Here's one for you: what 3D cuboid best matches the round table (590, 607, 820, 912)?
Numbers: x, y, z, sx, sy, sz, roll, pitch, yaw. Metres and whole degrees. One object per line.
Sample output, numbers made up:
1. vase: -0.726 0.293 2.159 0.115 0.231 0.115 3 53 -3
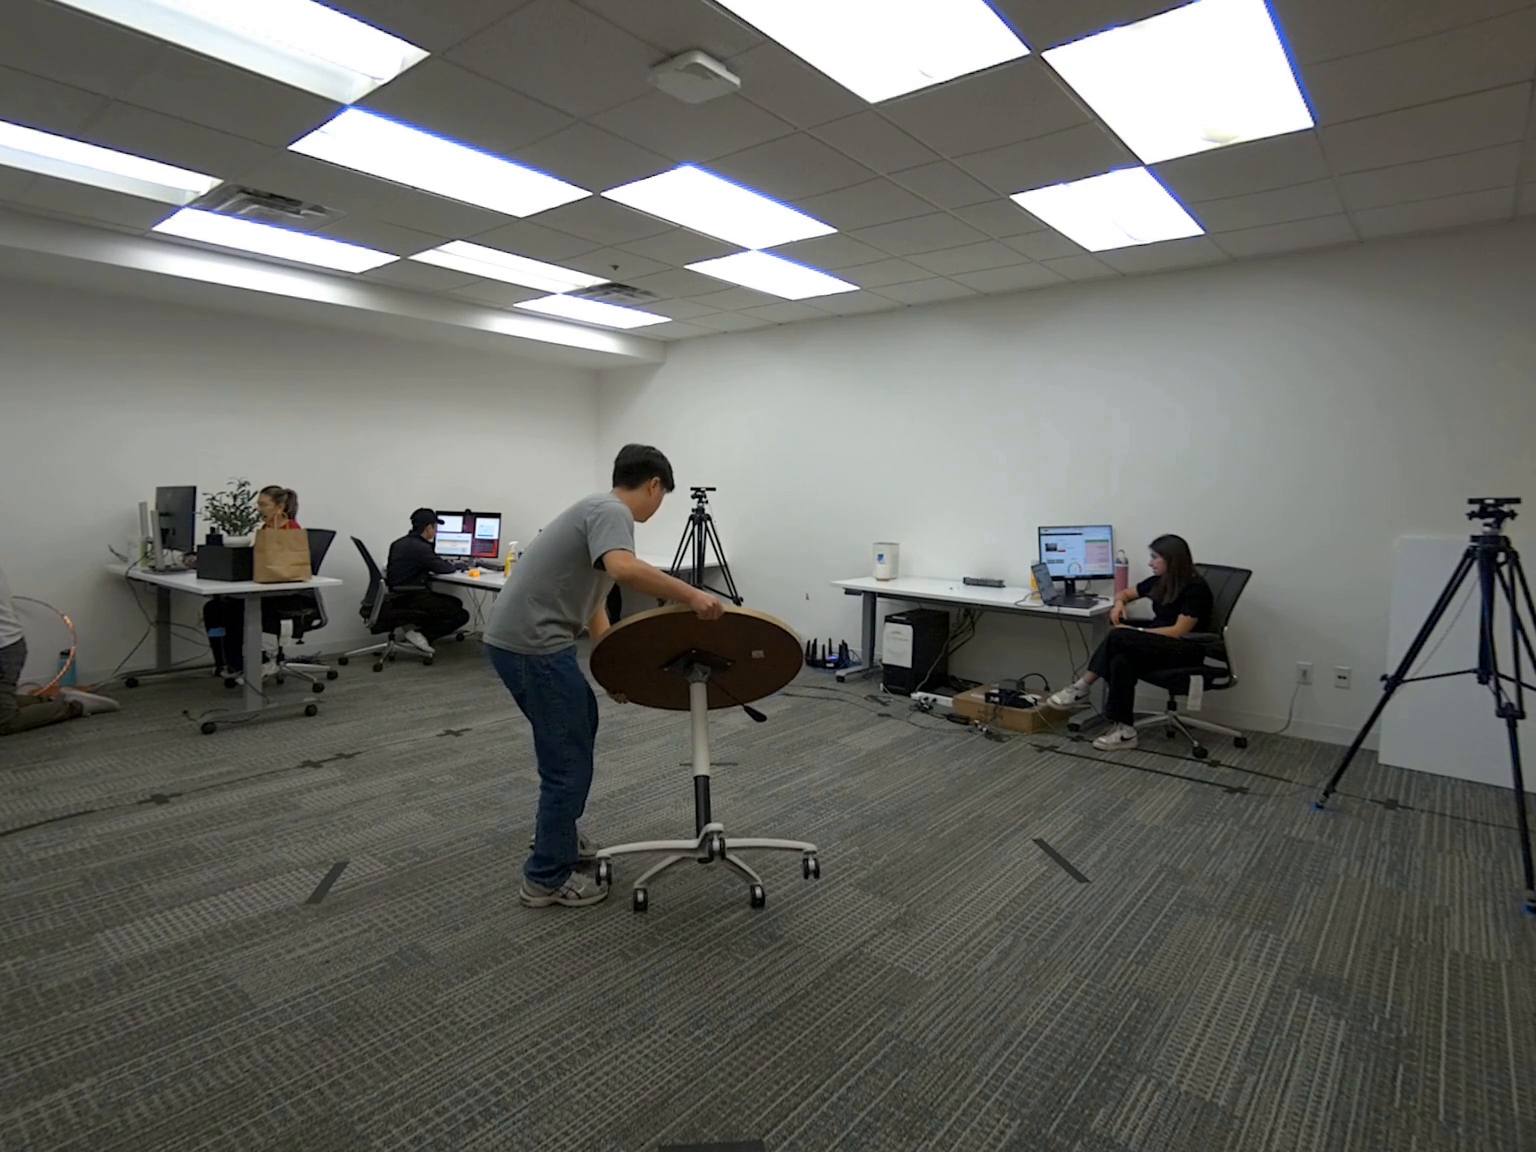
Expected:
1. round table: -0.221 0.632 2.824 0.762 0.817 0.744 -3 -34 -4
